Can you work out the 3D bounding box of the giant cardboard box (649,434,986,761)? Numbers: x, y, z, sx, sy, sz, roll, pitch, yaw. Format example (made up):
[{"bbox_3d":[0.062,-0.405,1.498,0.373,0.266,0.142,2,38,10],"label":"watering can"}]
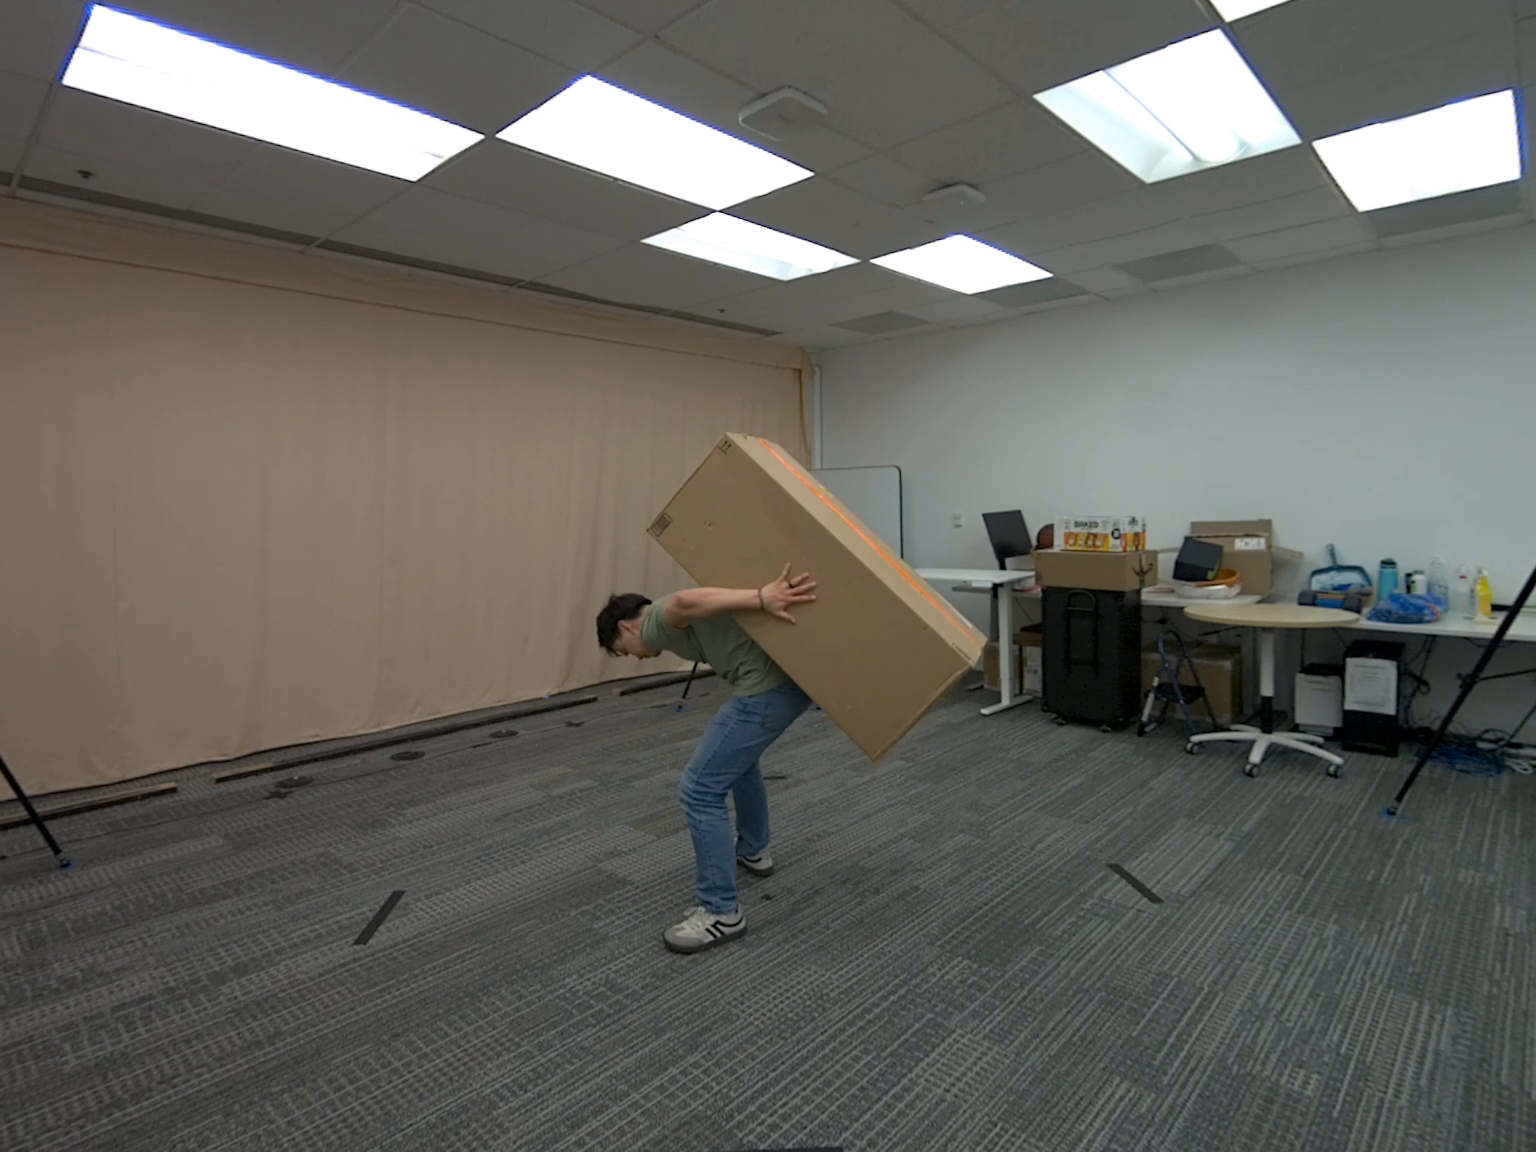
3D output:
[{"bbox_3d":[0.184,0.038,2.828,1.043,0.428,0.566,45,17,13],"label":"giant cardboard box"}]
